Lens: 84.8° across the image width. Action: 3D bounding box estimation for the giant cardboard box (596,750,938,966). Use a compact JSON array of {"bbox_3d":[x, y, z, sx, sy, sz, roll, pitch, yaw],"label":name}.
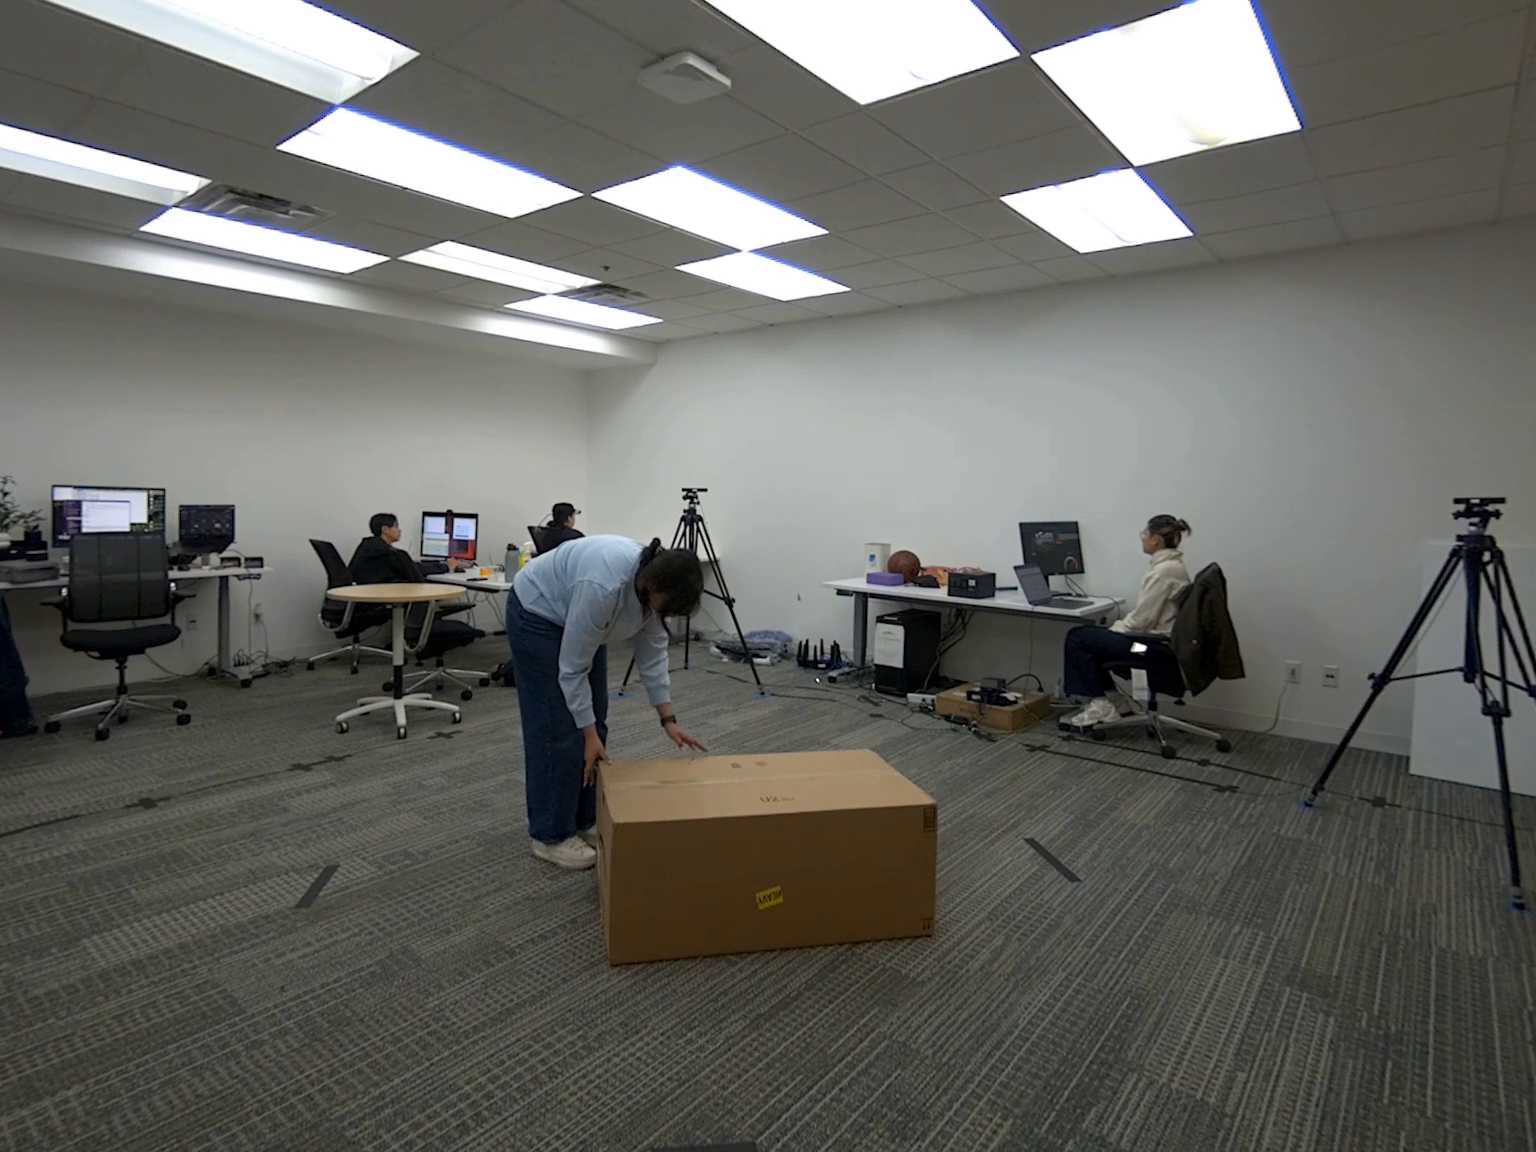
[{"bbox_3d":[-0.042,0.885,2.832,1.012,0.425,0.587,0,4,-13],"label":"giant cardboard box"}]
